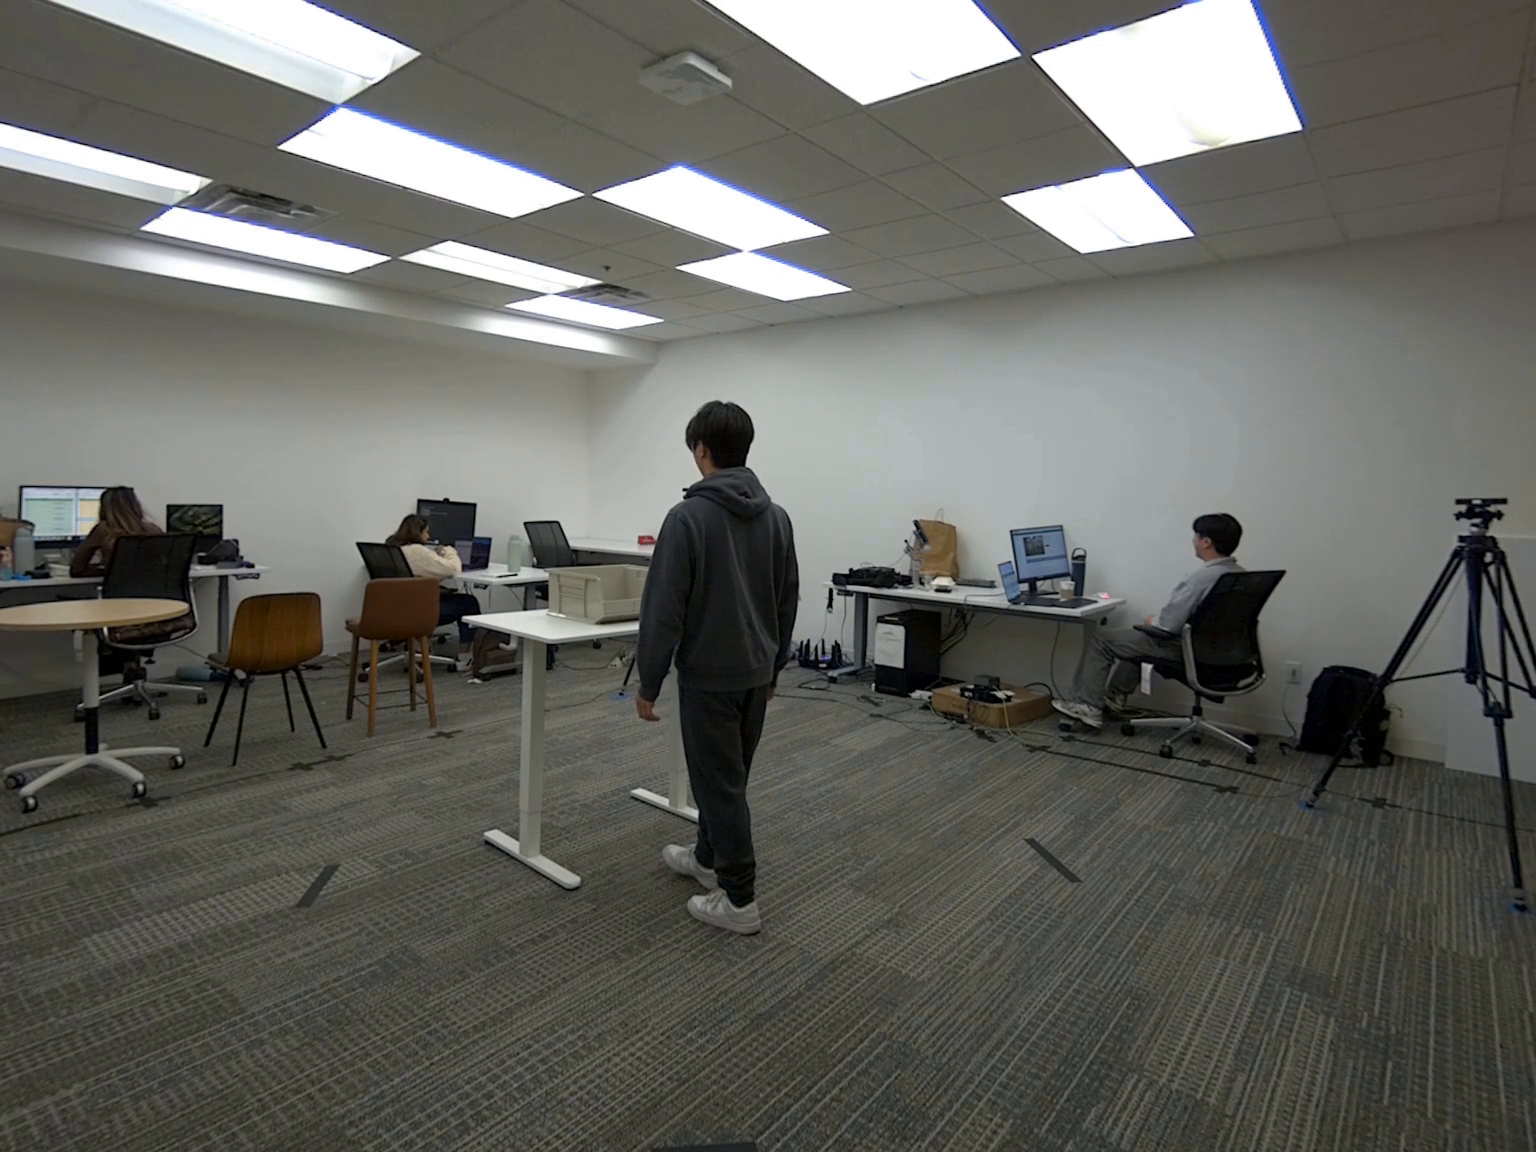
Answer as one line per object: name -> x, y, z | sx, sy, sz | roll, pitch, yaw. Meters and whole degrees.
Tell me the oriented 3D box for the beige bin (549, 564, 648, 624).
beige bin -> -0.615, 0.067, 3.359 | 0.390, 0.188, 0.409 | 5, 6, 43
